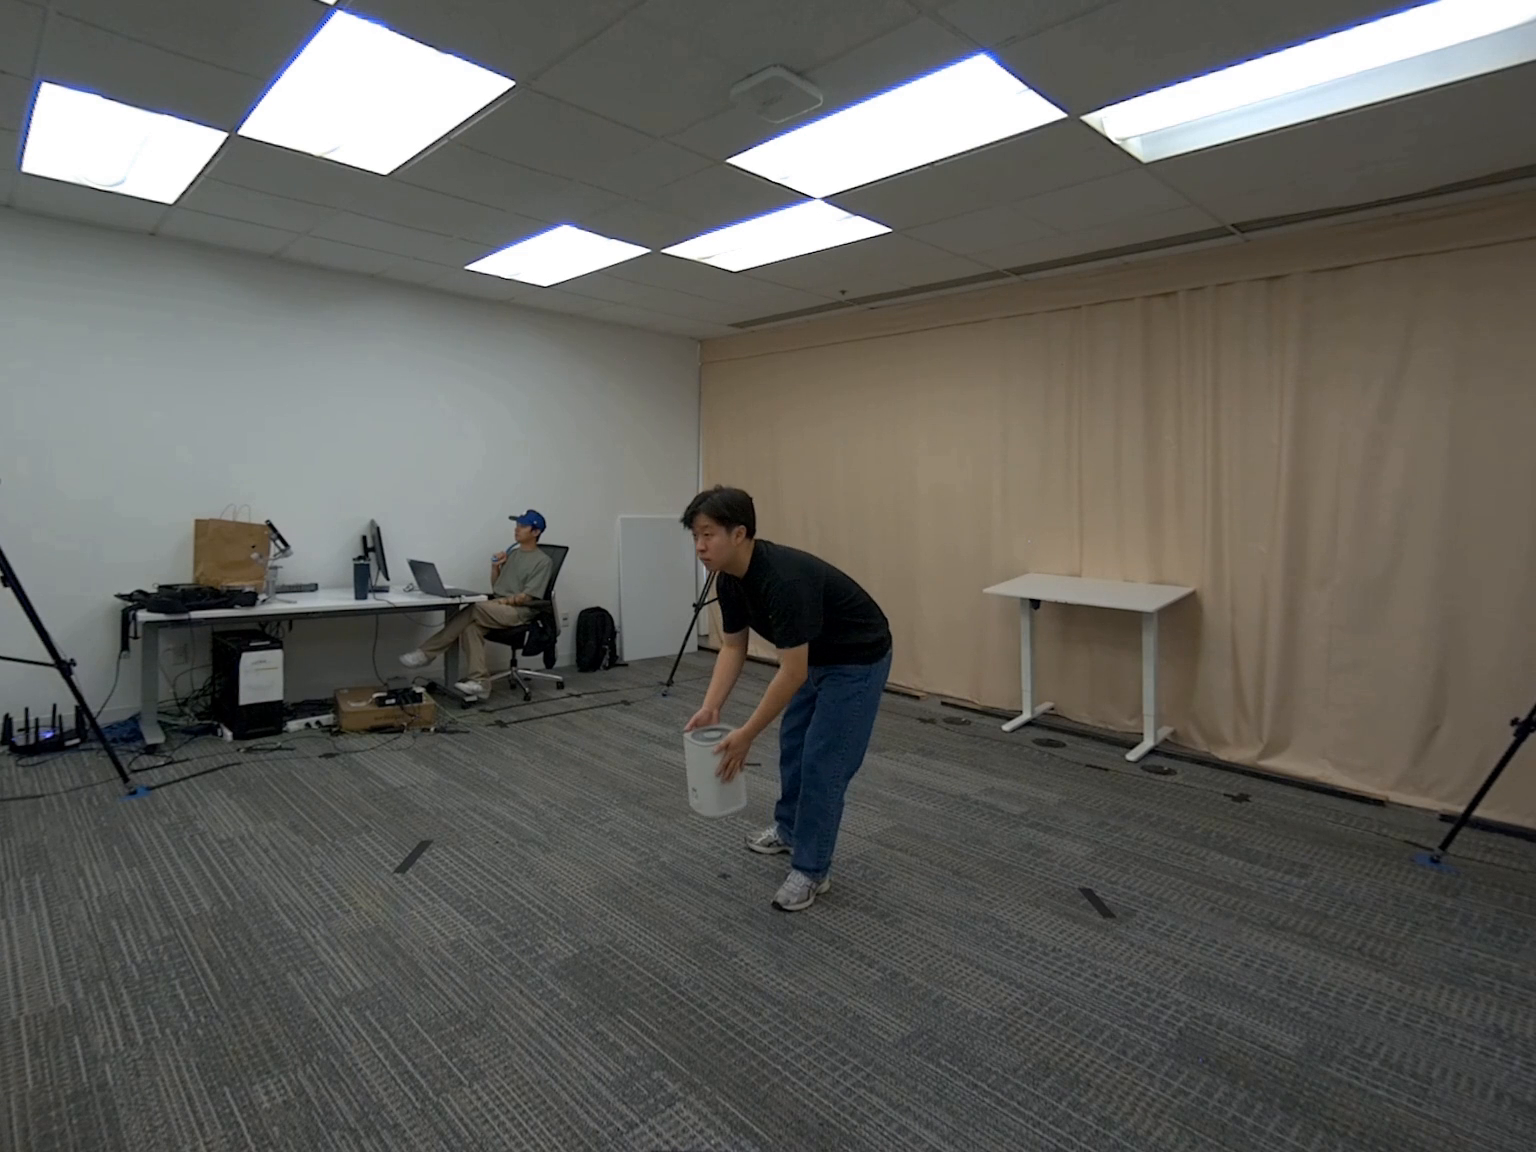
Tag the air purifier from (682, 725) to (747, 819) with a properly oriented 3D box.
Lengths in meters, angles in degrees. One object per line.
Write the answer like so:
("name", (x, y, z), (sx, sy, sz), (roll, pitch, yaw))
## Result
("air purifier", (-0.175, 0.640, 2.800), (0.168, 0.264, 0.175), (-9, 7, -36))
